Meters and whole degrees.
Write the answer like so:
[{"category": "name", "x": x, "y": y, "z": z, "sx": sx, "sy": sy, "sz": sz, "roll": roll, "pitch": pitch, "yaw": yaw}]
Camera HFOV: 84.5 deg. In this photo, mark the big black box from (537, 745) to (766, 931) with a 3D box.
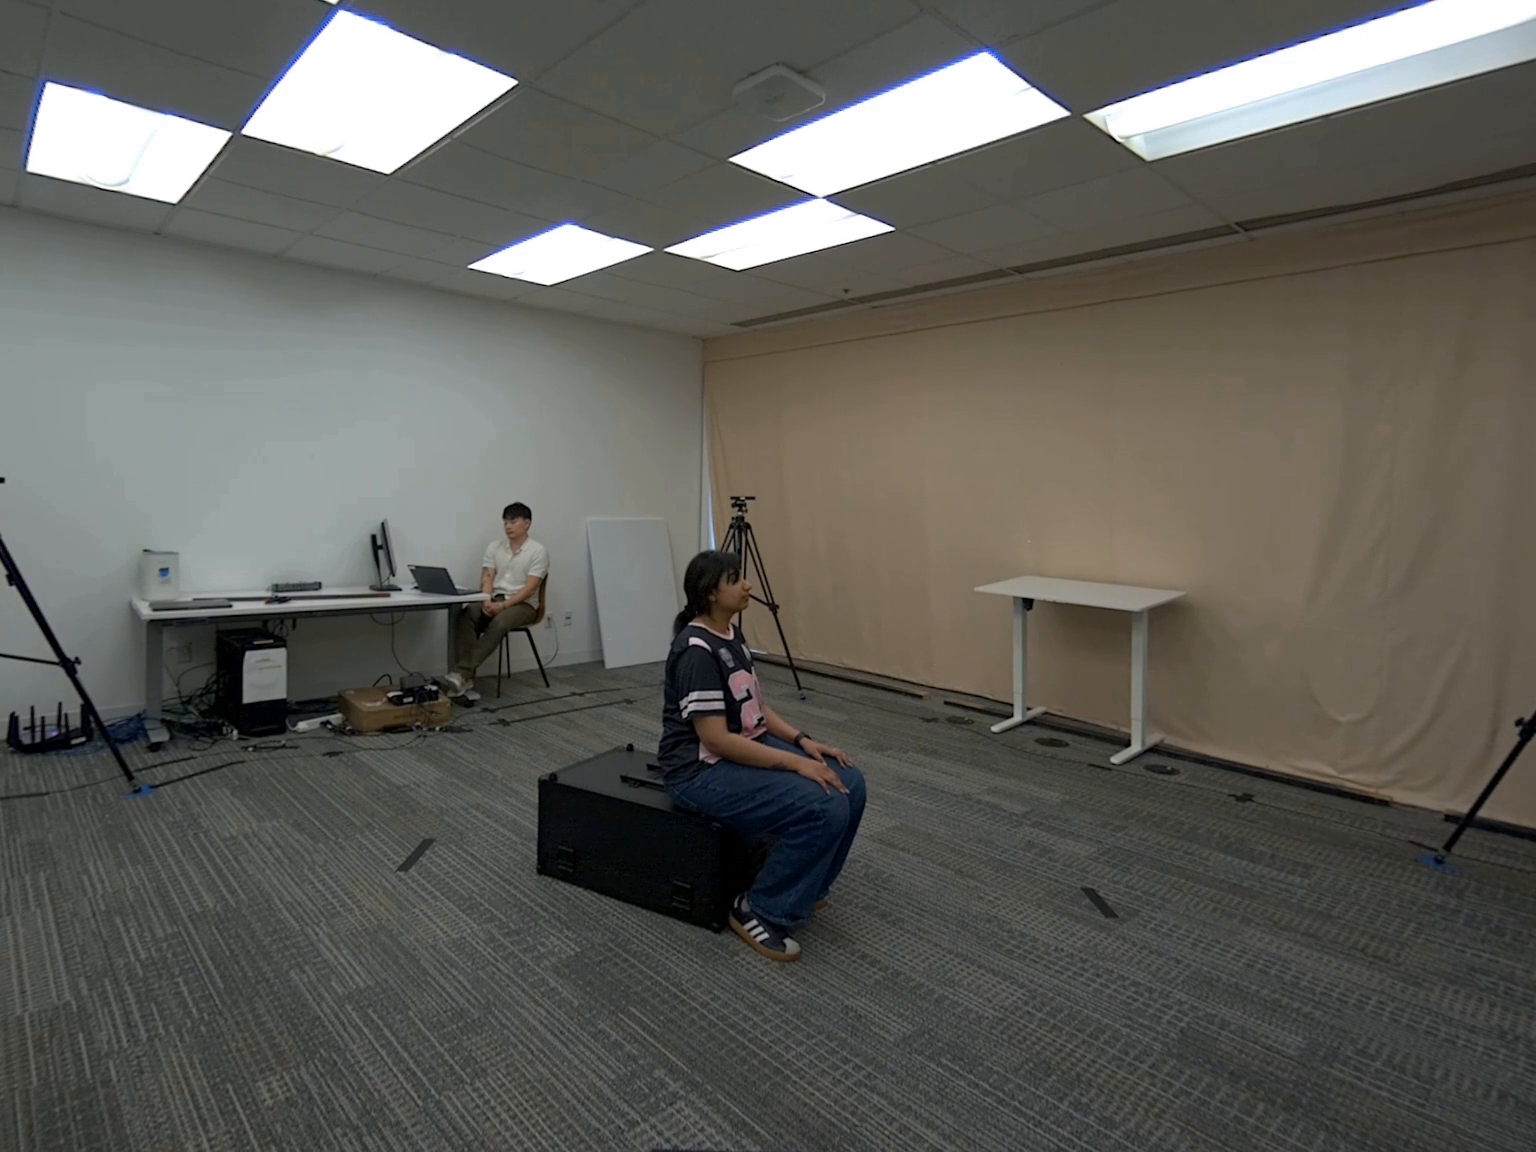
[{"category": "big black box", "x": -0.426, "y": 0.915, "z": 3.089, "sx": 0.887, "sy": 0.384, "sz": 0.514, "roll": 4, "pitch": 7, "yaw": 29}]
